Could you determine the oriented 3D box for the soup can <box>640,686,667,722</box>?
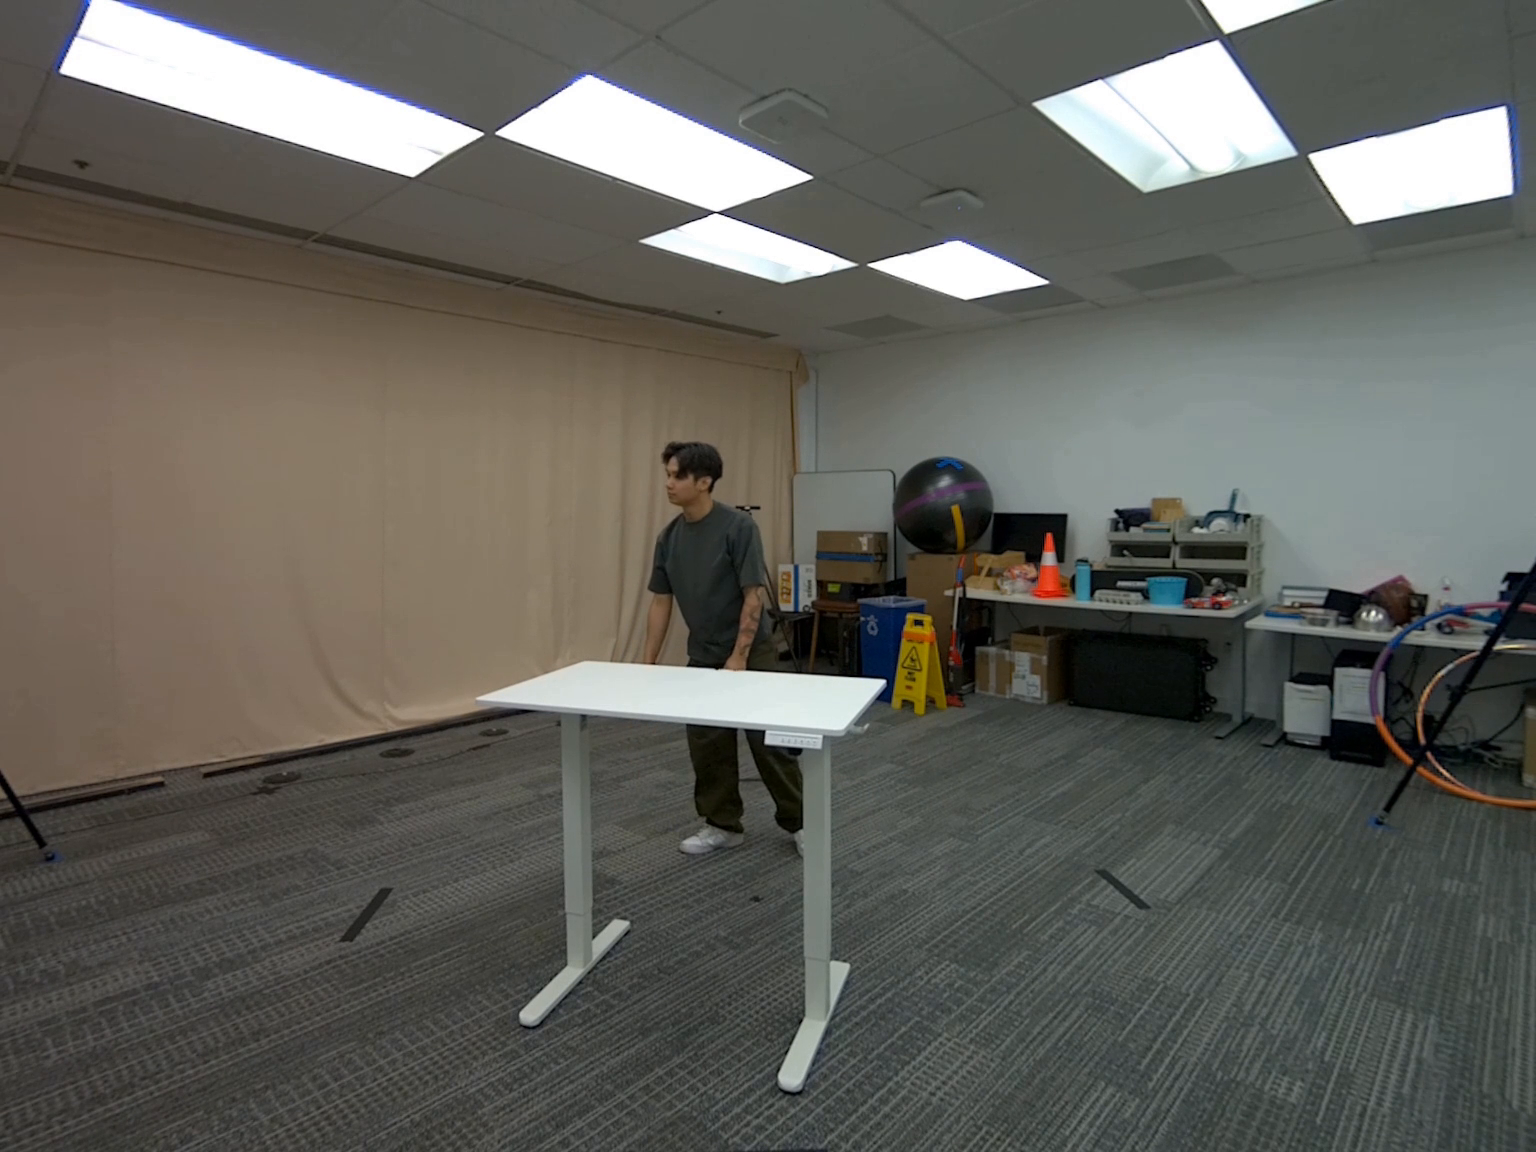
[{"bbox_3d":[-0.464,0.513,3.421,0.067,0.122,0.067,-19,-8,-4],"label":"soup can"}]
